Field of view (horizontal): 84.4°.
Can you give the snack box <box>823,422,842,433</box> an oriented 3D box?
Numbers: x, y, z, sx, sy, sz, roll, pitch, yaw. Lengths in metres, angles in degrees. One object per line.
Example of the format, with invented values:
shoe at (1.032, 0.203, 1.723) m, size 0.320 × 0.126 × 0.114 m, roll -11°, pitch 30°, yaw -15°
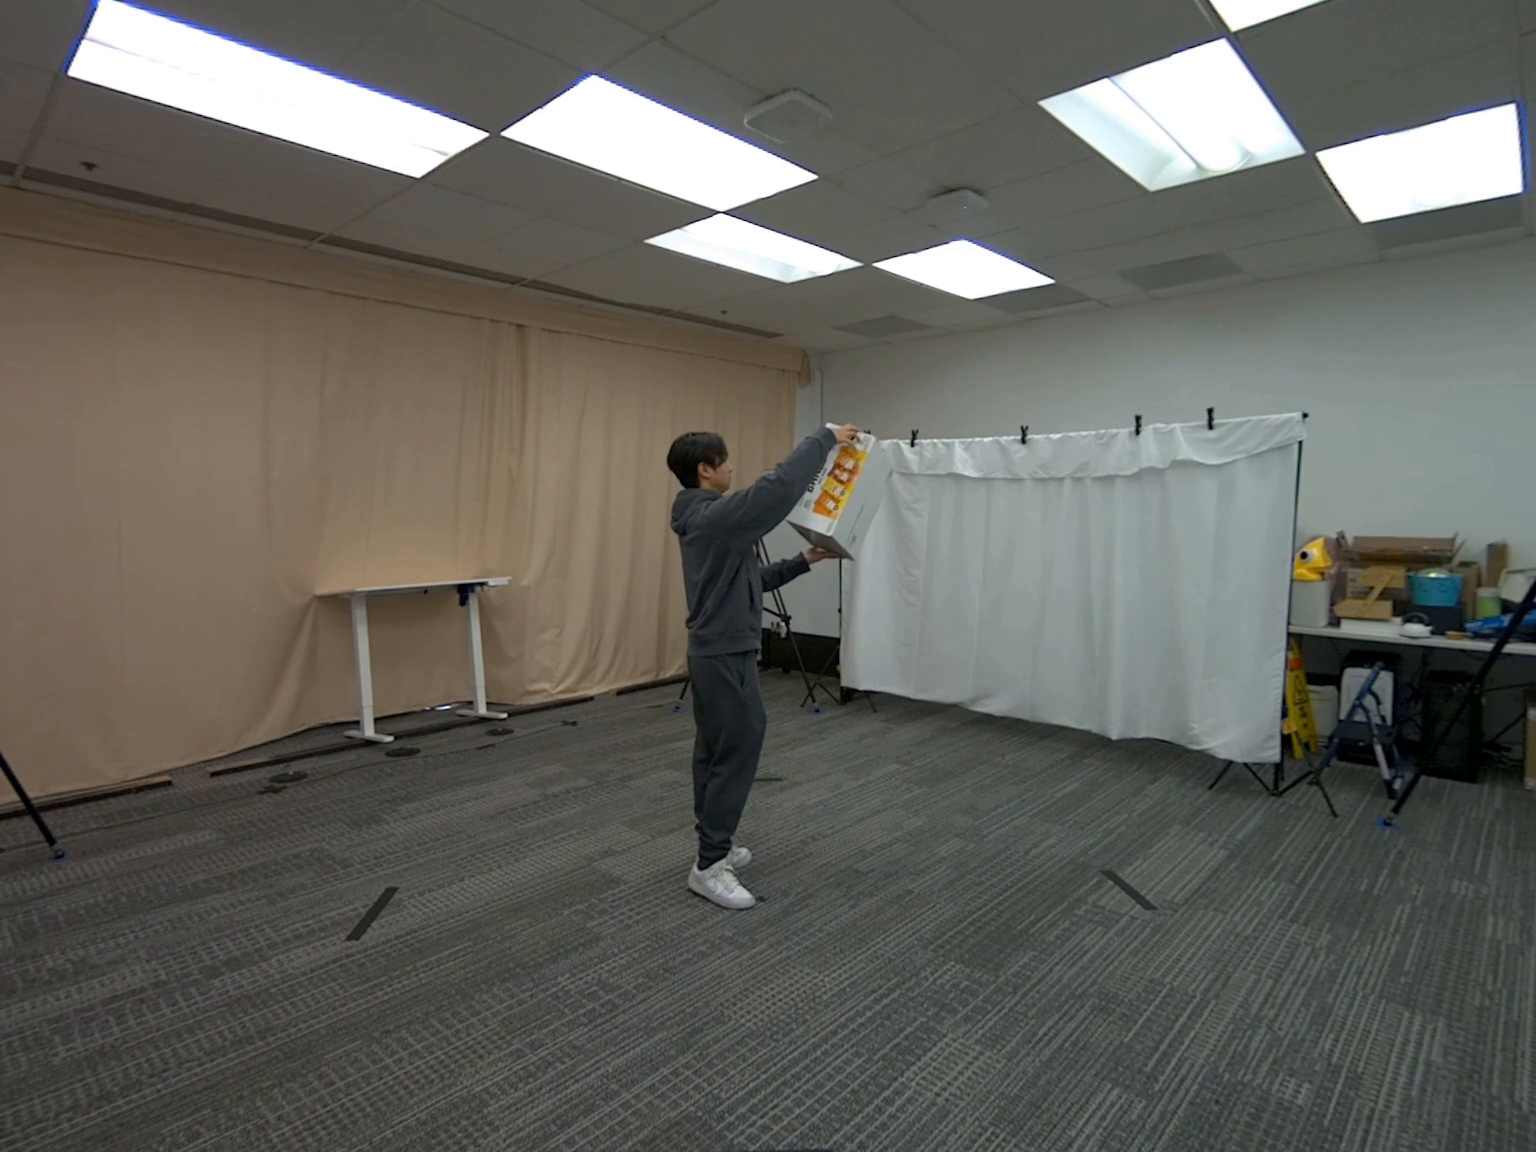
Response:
snack box at (0.289, -0.318, 3.227) m, size 0.212 × 0.405 × 0.330 m, roll 21°, pitch -7°, yaw 26°
